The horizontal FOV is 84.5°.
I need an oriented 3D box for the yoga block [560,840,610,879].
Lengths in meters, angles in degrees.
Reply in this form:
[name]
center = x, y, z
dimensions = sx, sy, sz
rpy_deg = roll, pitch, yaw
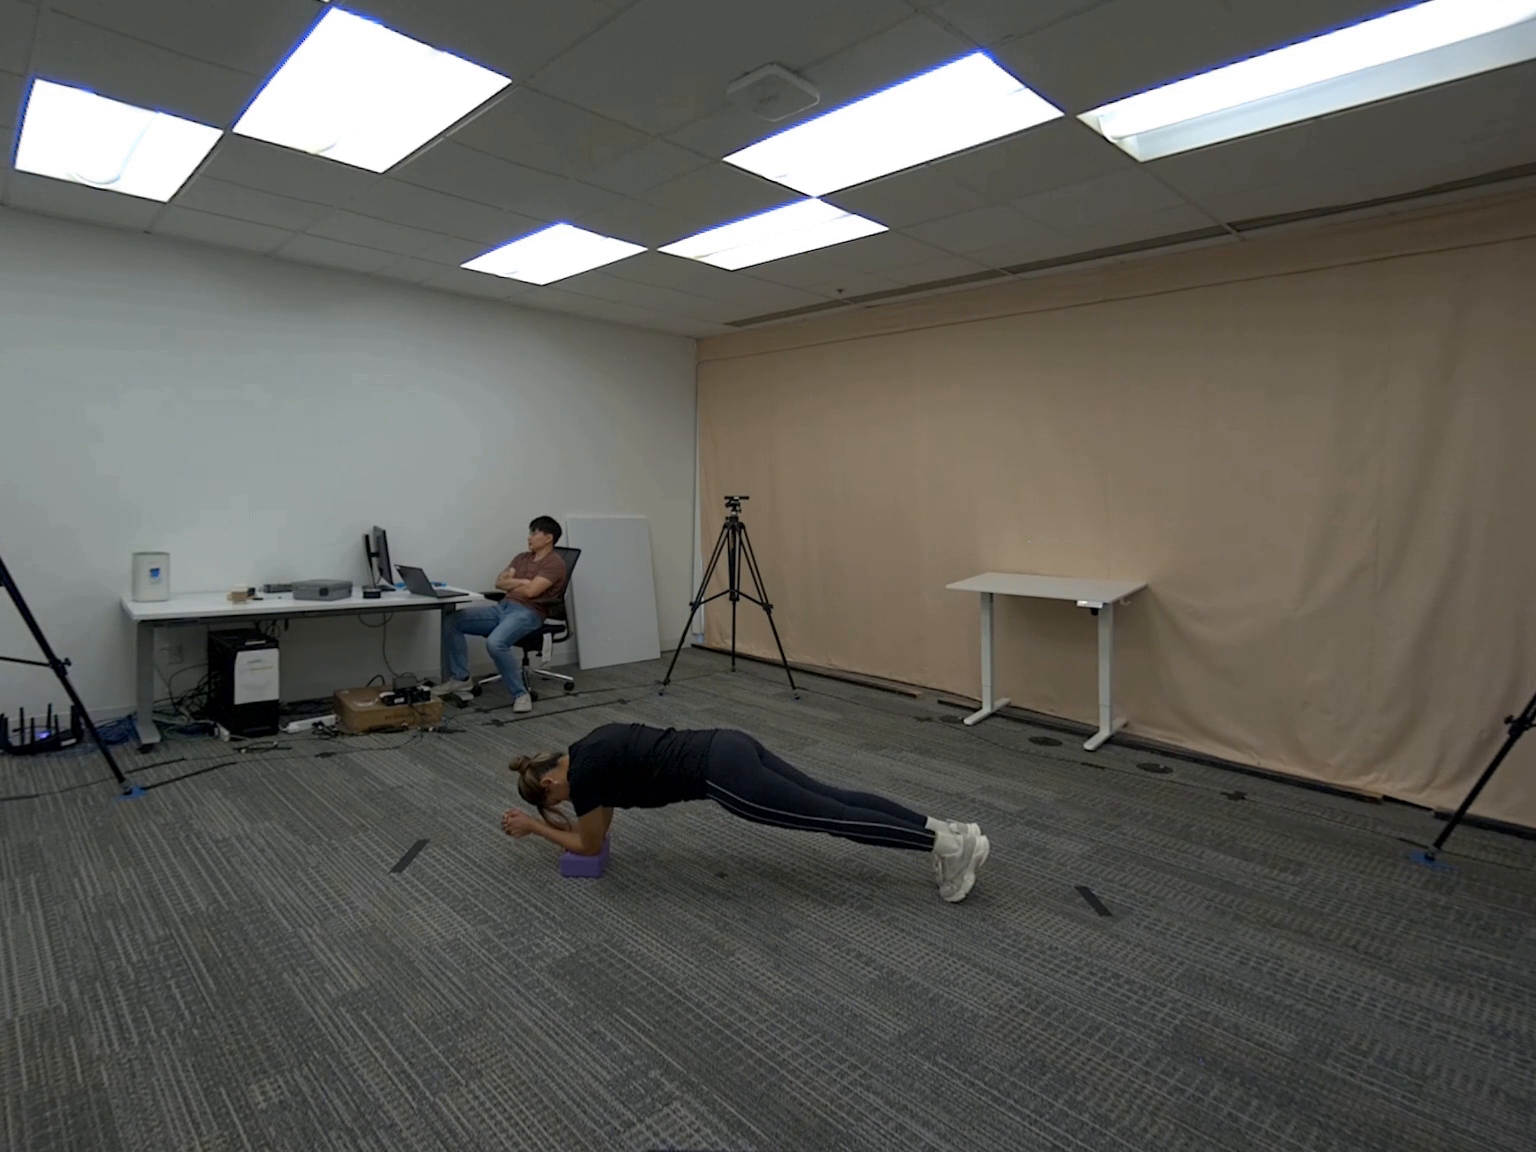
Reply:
[yoga block]
center = -0.686, 1.043, 3.164
dimensions = 0.149, 0.076, 0.230
rpy_deg = 0, 5, 0
